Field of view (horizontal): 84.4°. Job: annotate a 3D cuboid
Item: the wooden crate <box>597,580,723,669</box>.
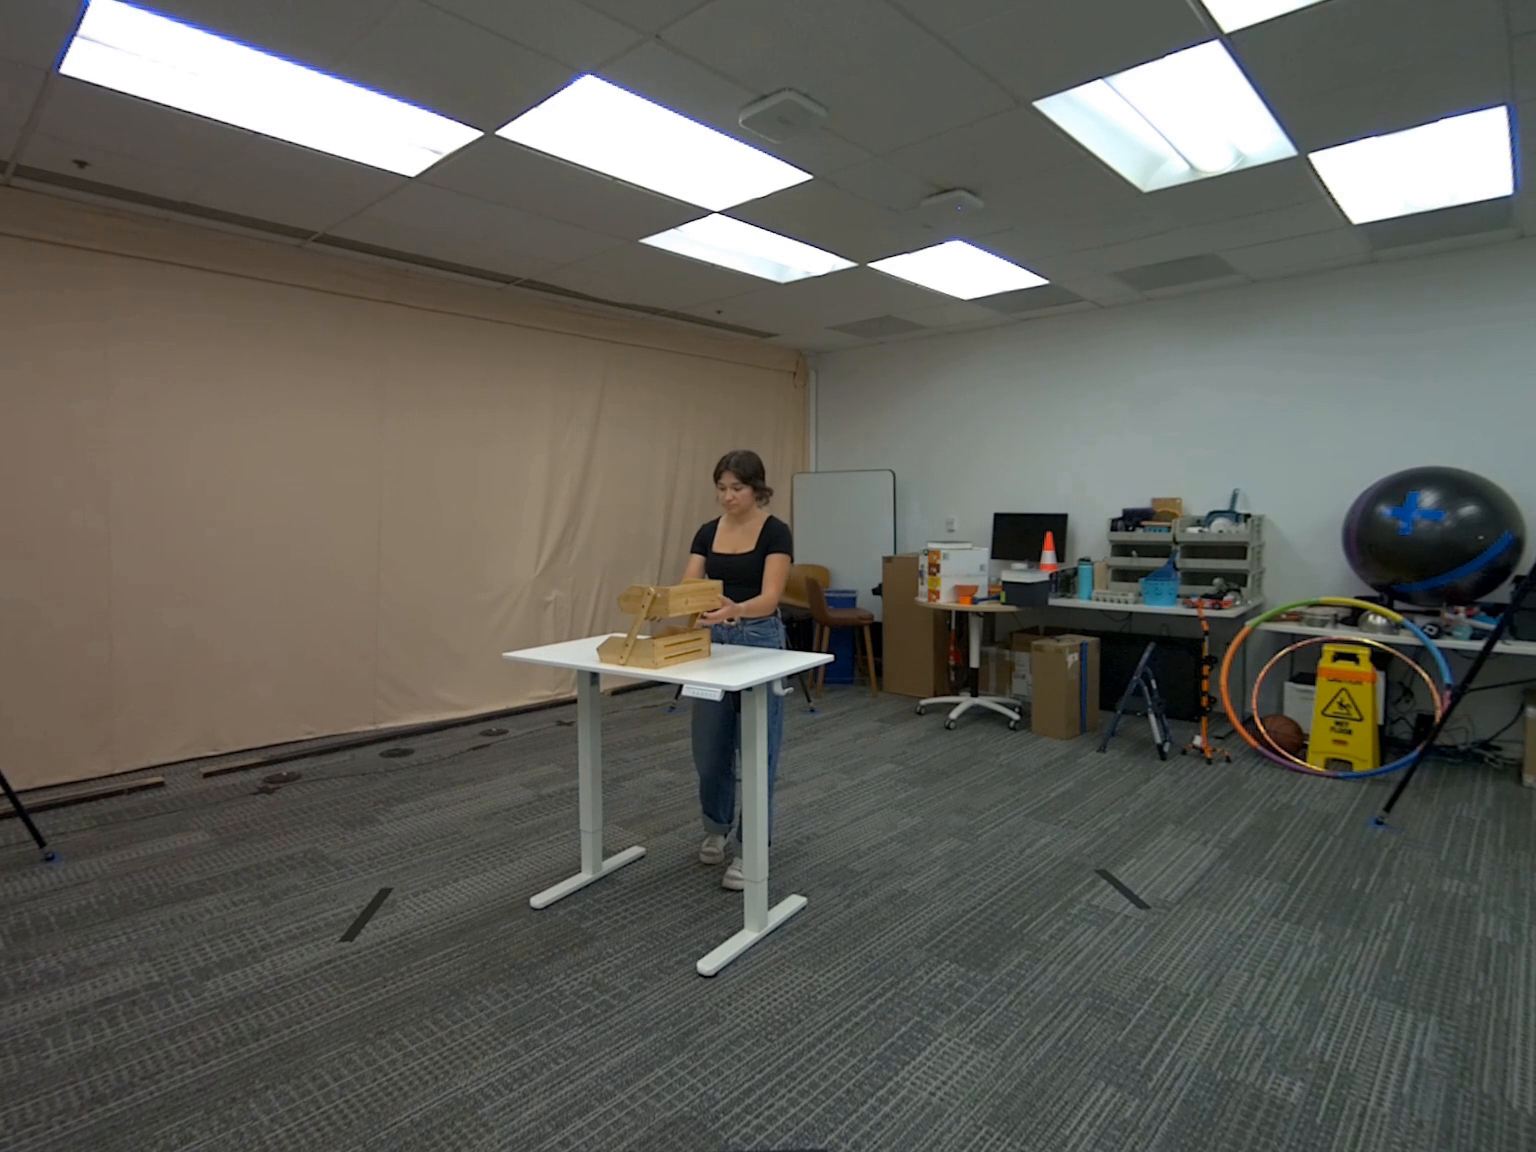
[{"bbox_3d":[-0.361,0.146,2.804,0.311,0.273,0.315,3,4,33],"label":"wooden crate"}]
